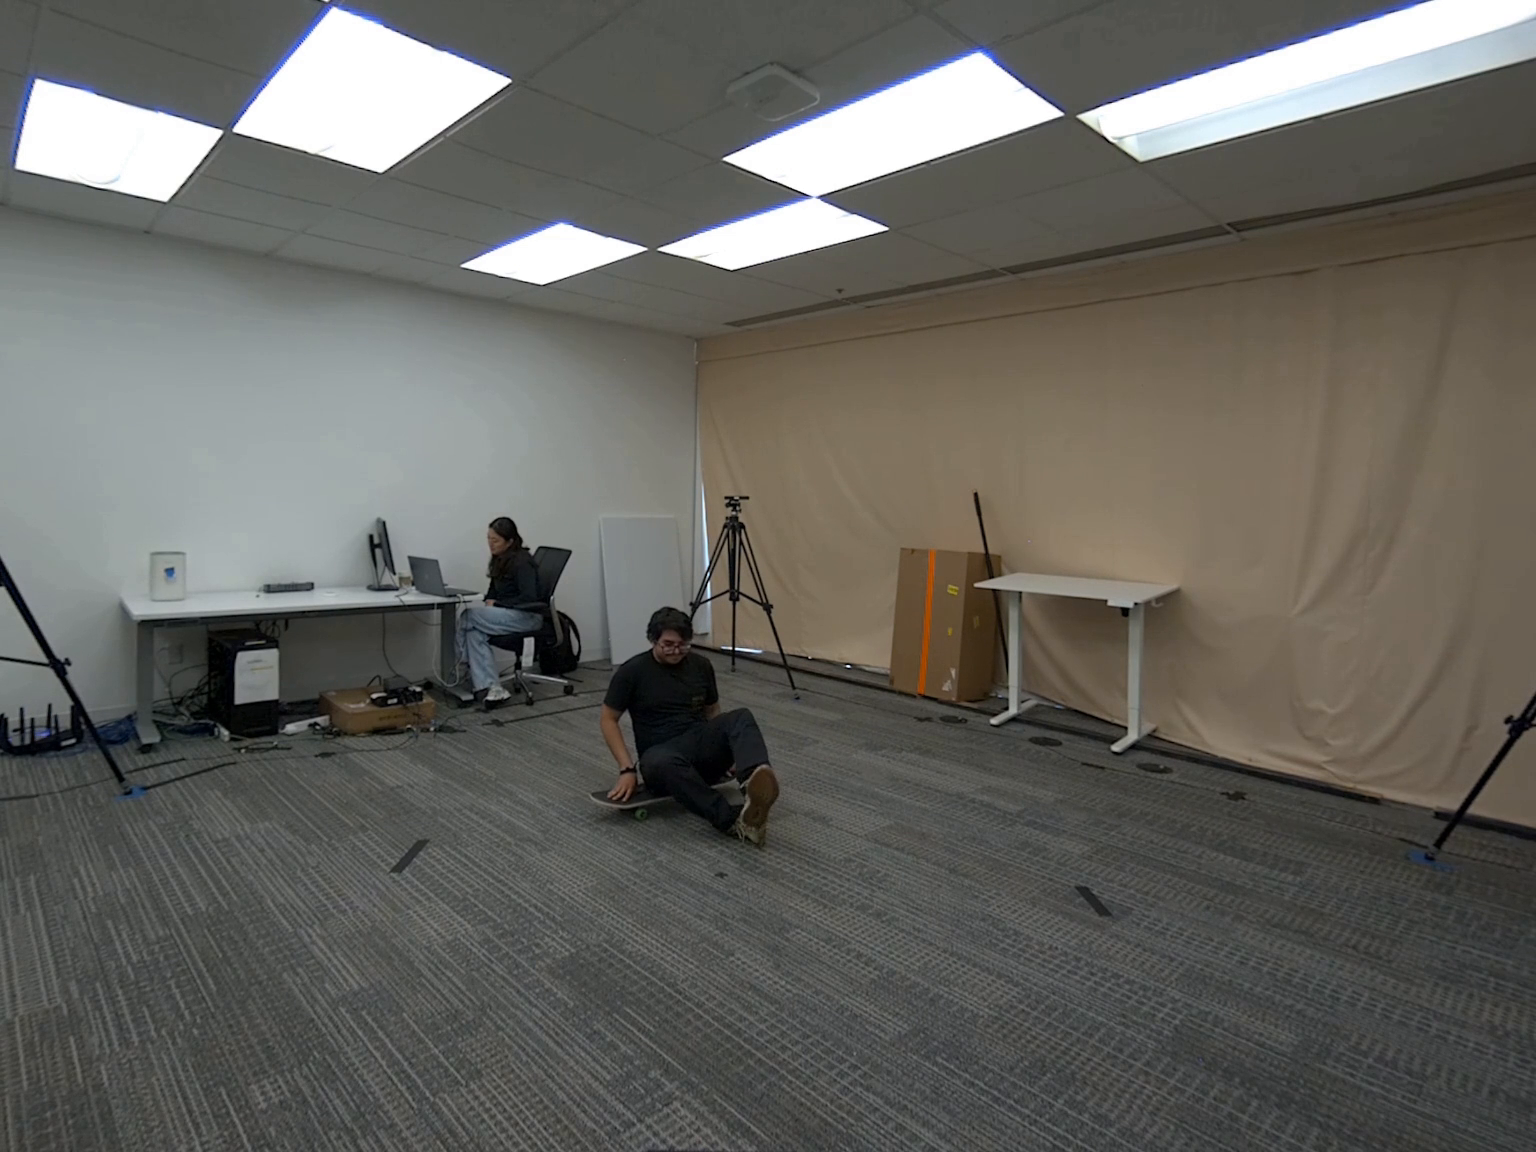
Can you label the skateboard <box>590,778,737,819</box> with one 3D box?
[{"bbox_3d":[-0.444,0.977,3.794,0.768,0.110,0.198,-2,6,-34],"label":"skateboard"}]
